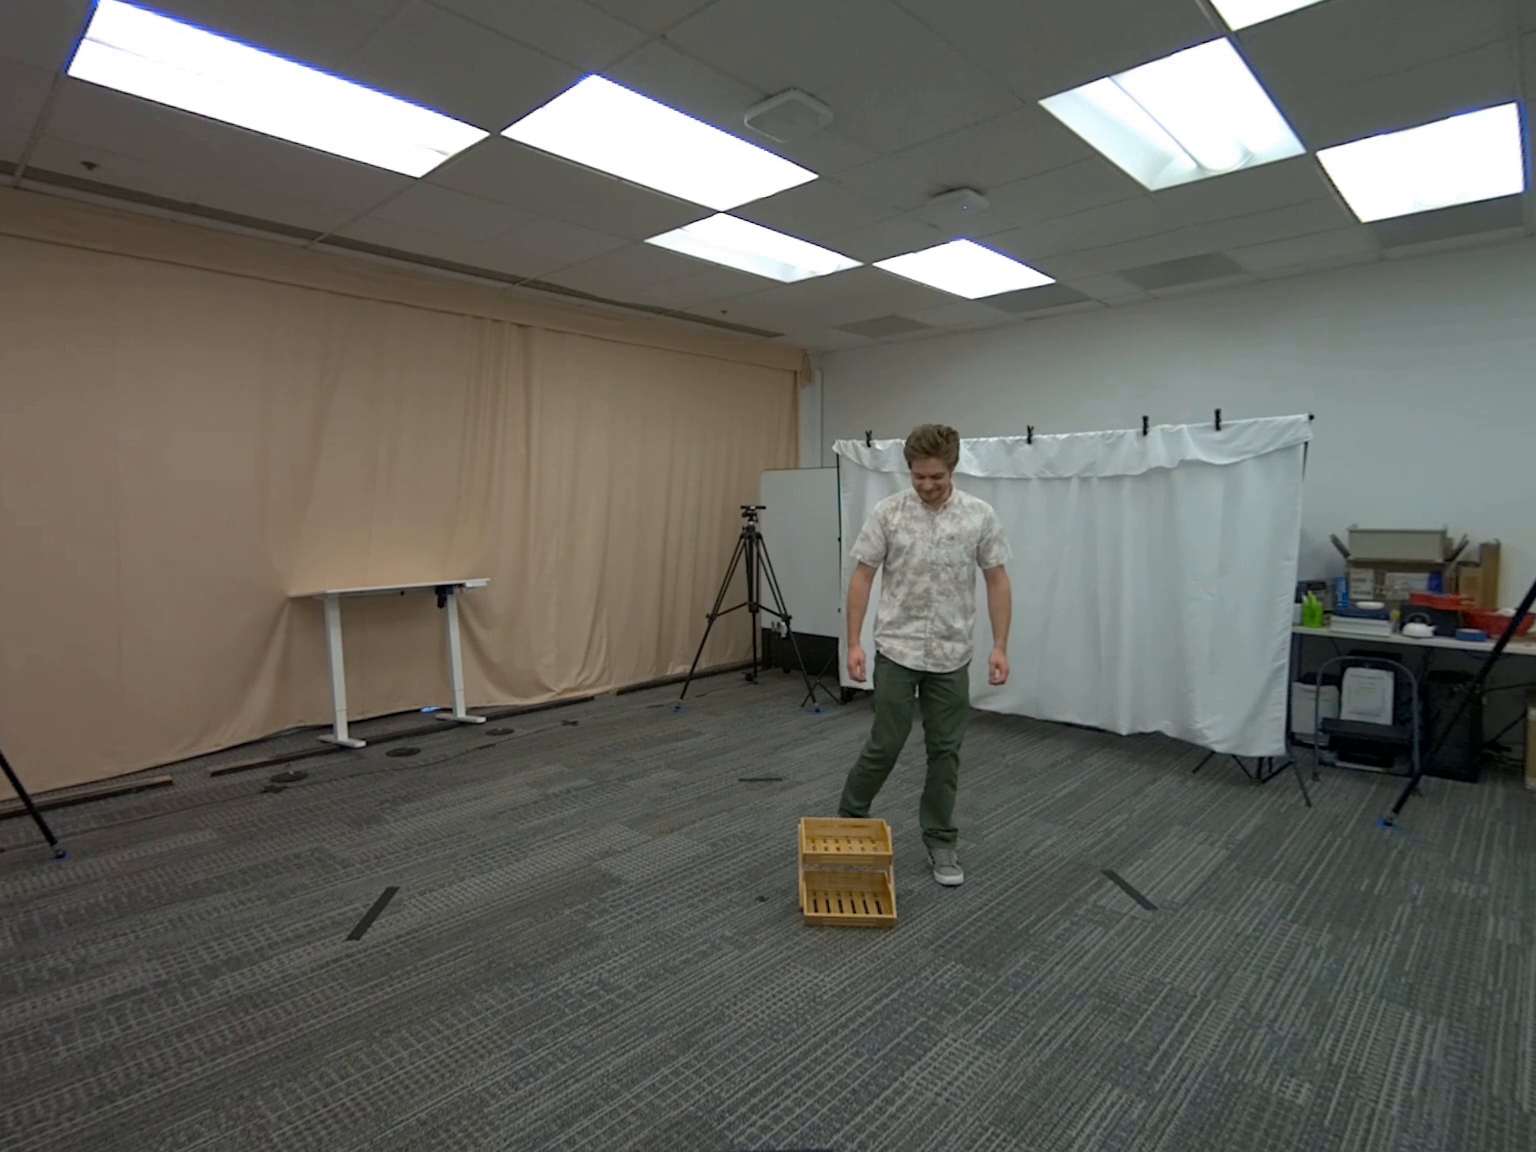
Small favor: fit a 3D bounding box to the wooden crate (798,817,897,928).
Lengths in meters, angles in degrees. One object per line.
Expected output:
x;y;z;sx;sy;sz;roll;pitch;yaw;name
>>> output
0.277;1.019;2.898;0.325;0.272;0.302;0;5;2;wooden crate
